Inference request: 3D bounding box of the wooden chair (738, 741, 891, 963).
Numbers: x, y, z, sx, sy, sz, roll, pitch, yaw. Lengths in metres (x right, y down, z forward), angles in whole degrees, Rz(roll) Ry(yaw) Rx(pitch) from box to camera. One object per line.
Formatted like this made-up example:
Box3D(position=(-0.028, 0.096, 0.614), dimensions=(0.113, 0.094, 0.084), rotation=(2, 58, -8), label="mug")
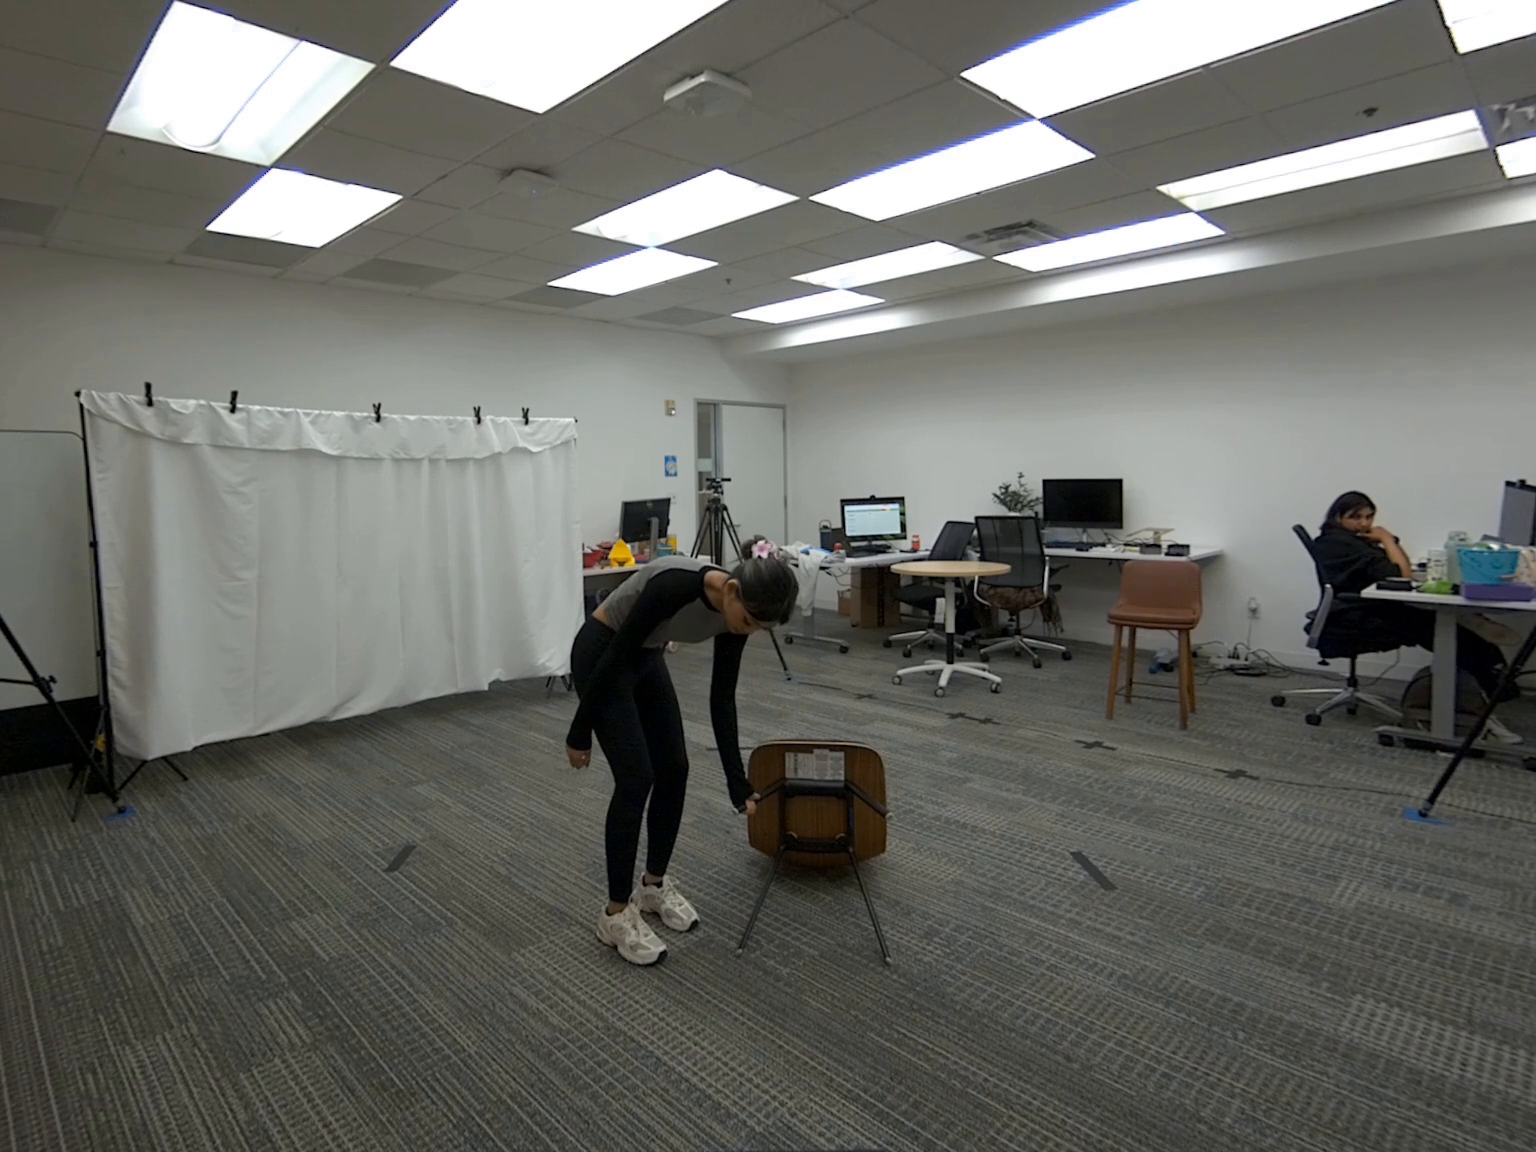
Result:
Box3D(position=(0.171, 0.805, 2.869), dimensions=(0.481, 0.521, 0.875), rotation=(0, 5, 6), label="wooden chair")
